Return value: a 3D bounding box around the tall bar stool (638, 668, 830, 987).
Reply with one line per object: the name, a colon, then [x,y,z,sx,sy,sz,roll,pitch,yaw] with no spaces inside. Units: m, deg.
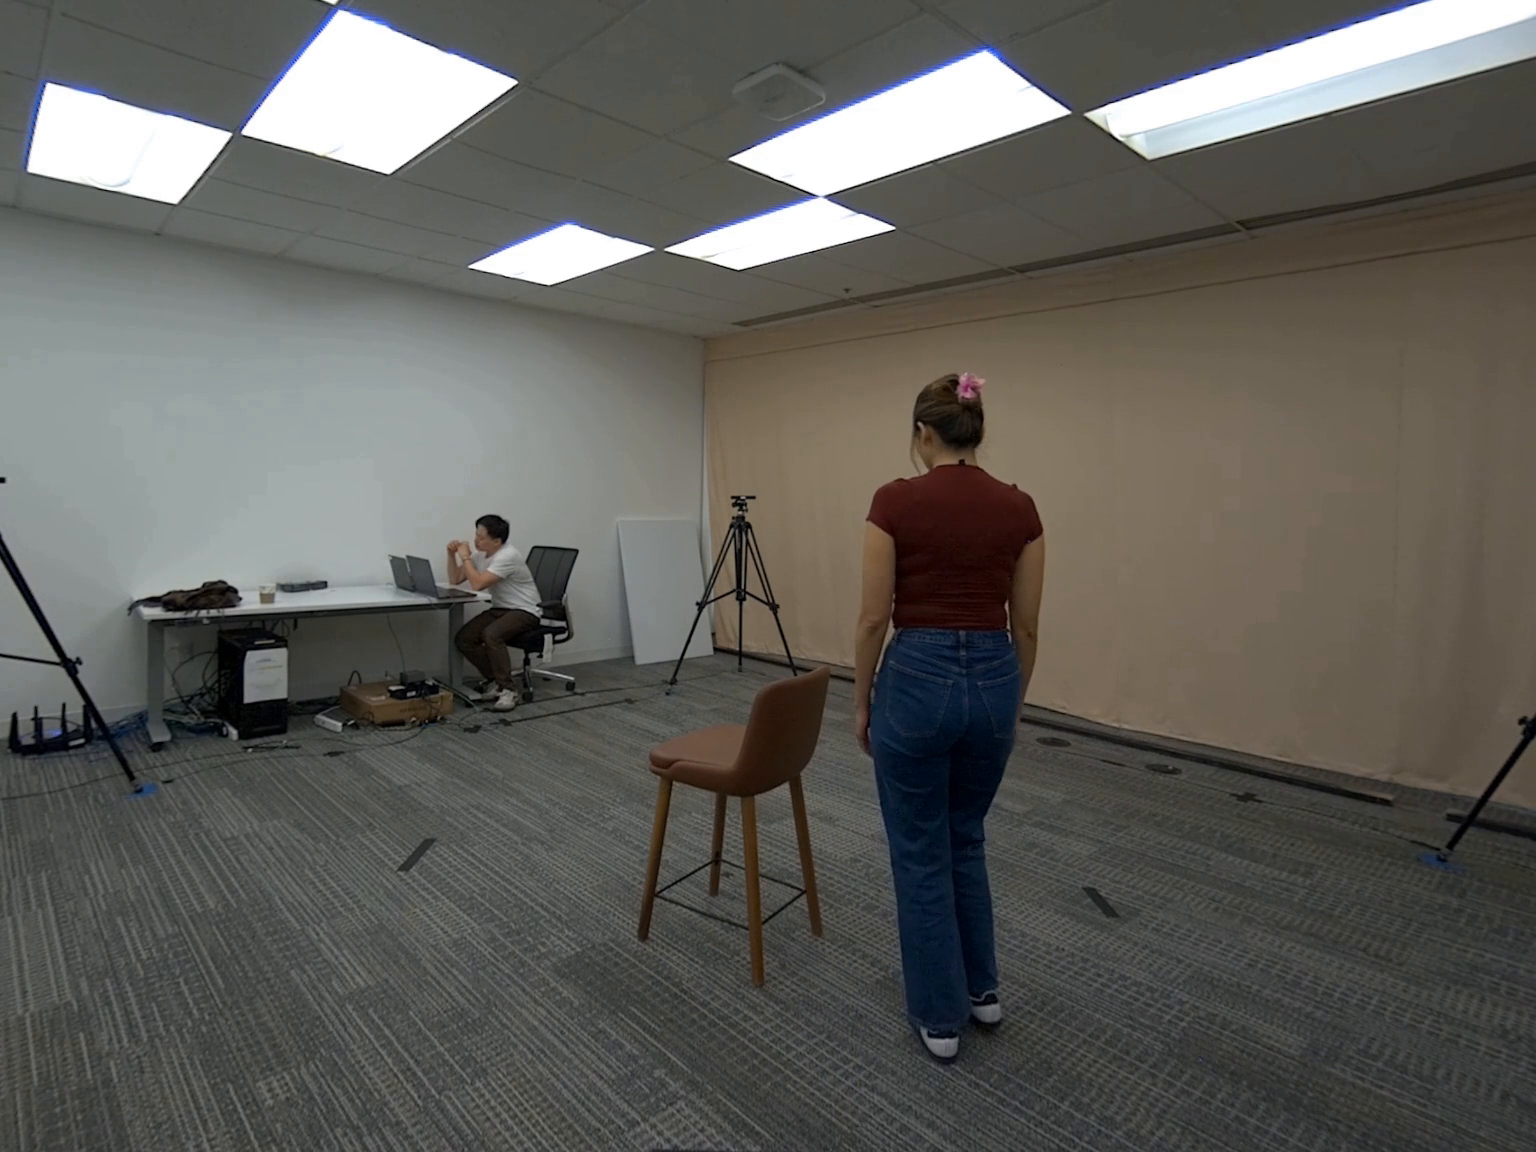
tall bar stool: [-0.102,0.710,2.642,0.479,0.886,0.447,6,6,34]
